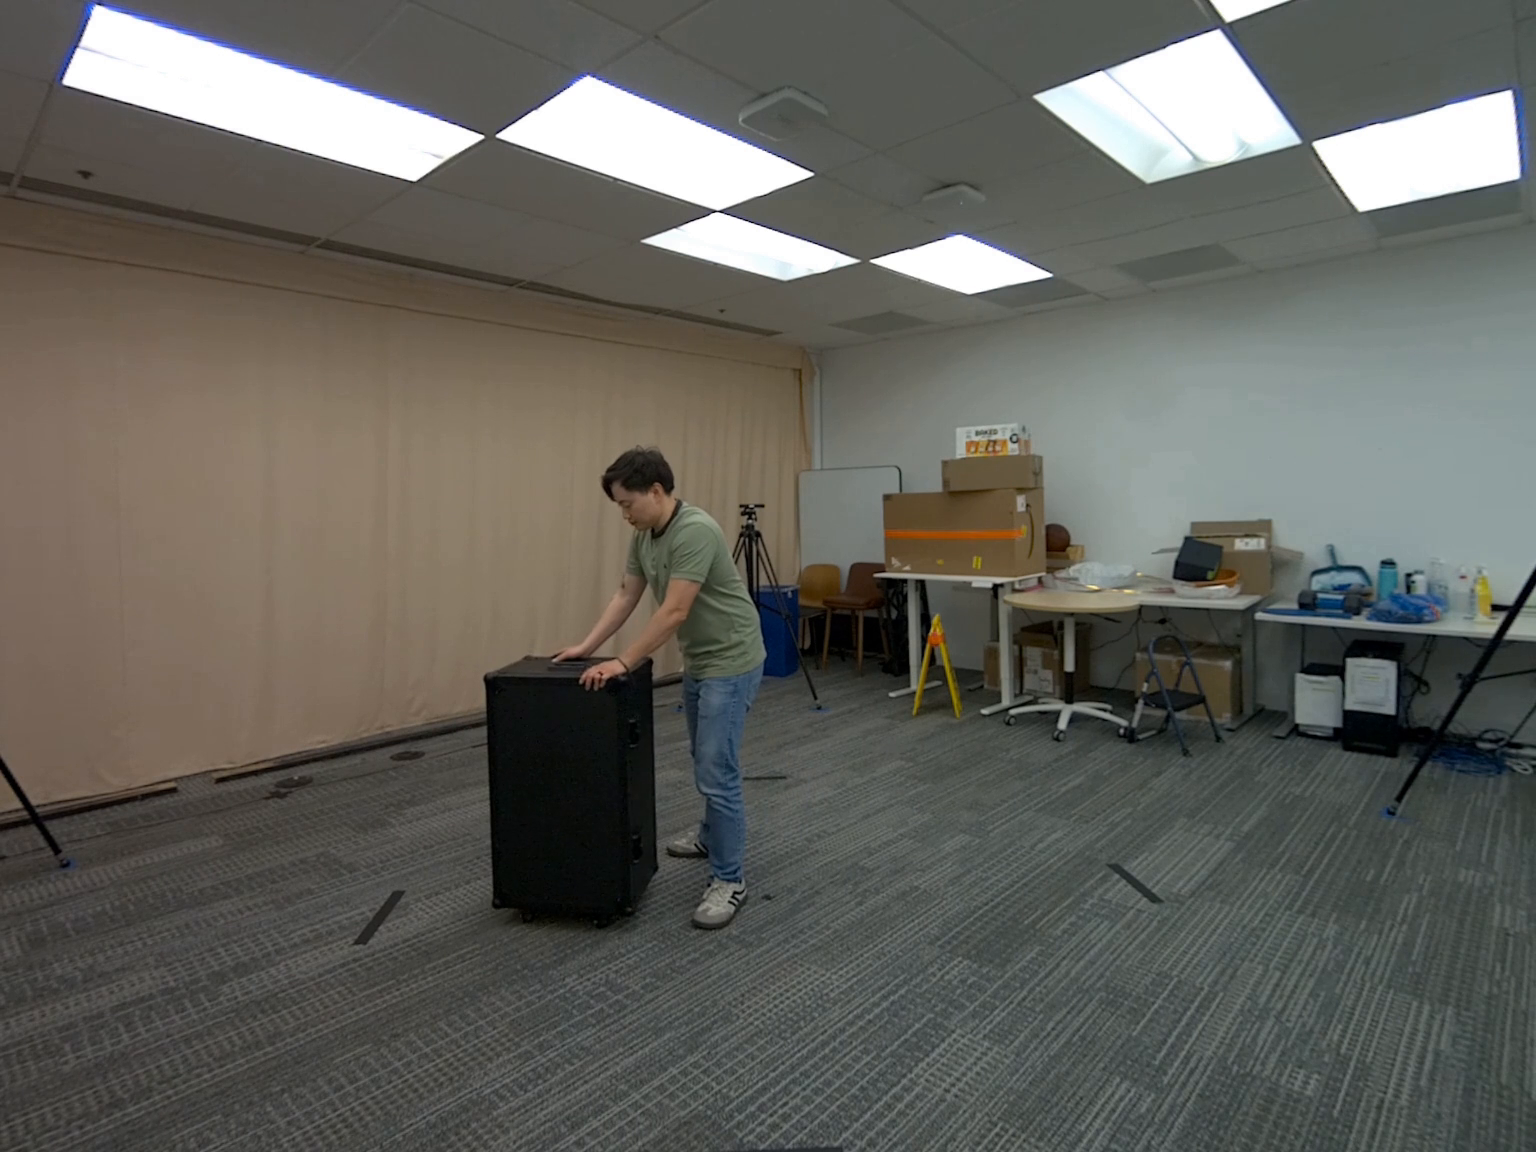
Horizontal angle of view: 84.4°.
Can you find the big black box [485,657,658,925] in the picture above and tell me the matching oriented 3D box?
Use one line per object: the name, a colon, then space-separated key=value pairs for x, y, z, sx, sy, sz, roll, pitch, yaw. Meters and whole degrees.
big black box: x=-0.670 y=0.733 z=2.925 sx=0.528 sy=0.859 sz=0.392 roll=0 pitch=3 yaw=10
